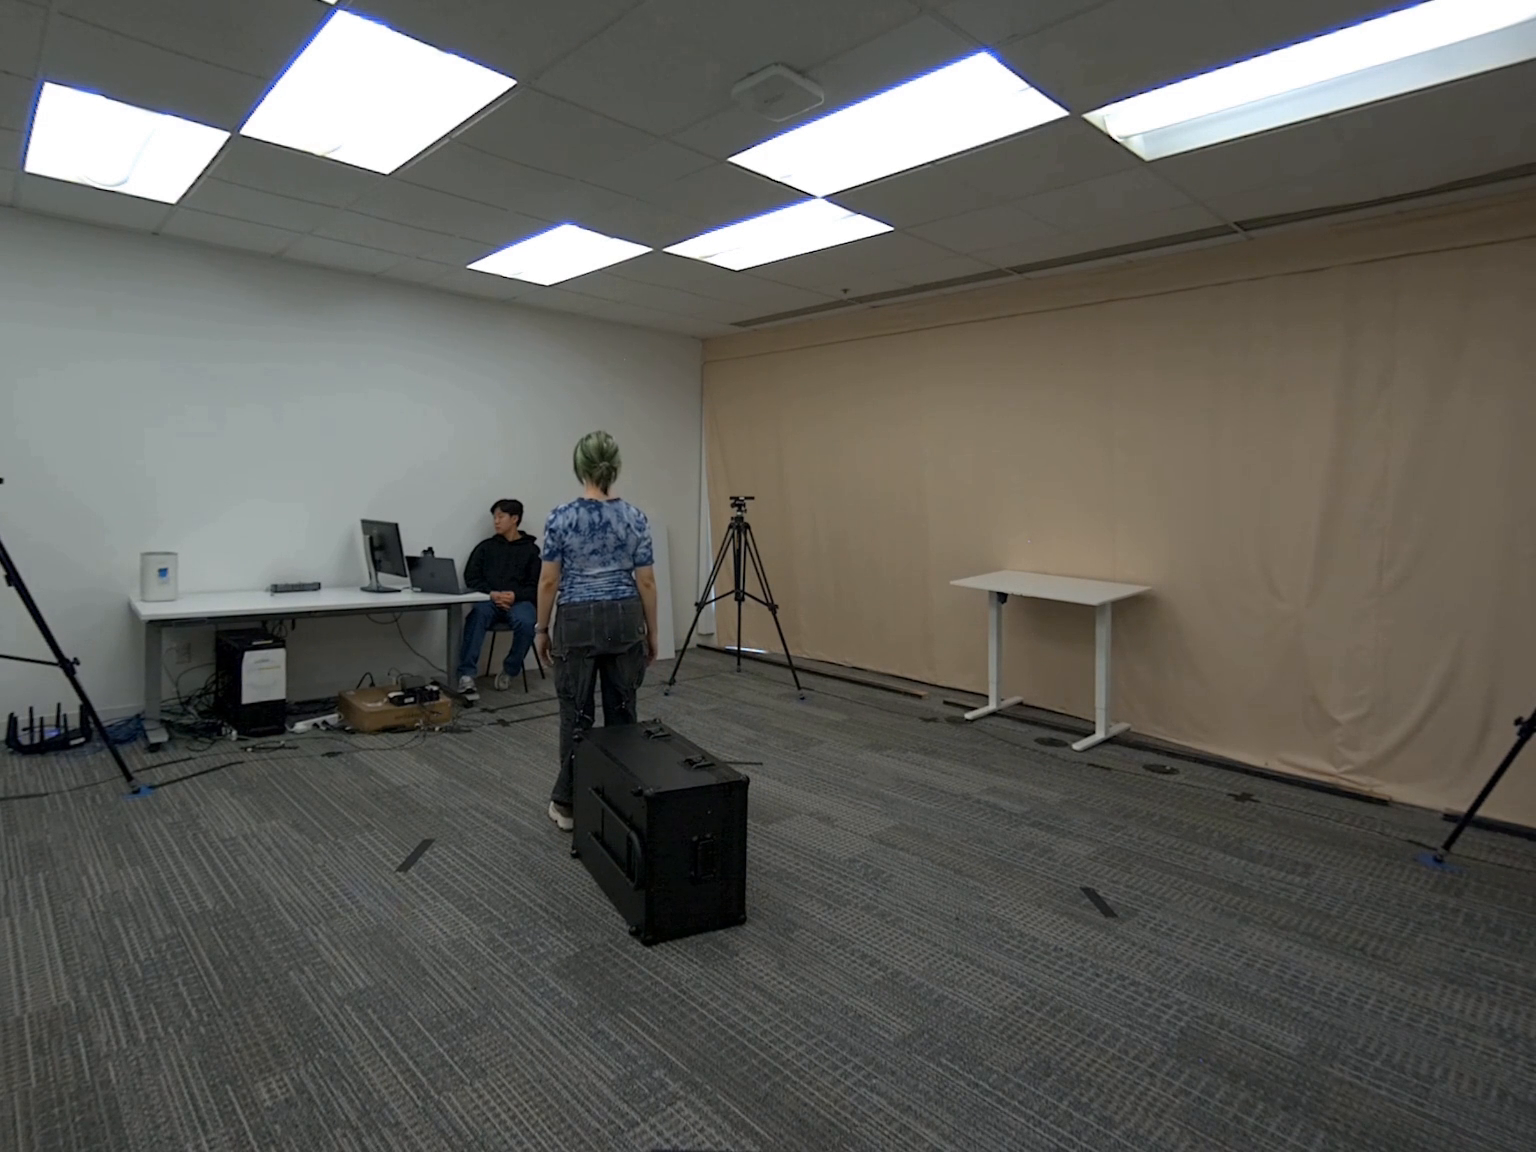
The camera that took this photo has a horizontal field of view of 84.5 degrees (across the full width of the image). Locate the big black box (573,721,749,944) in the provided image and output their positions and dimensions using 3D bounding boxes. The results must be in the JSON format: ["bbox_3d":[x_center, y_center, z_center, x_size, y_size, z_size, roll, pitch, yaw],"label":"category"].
[{"bbox_3d":[-0.439,0.863,3.019,0.389,0.520,0.880,0,5,-27],"label":"big black box"}]
